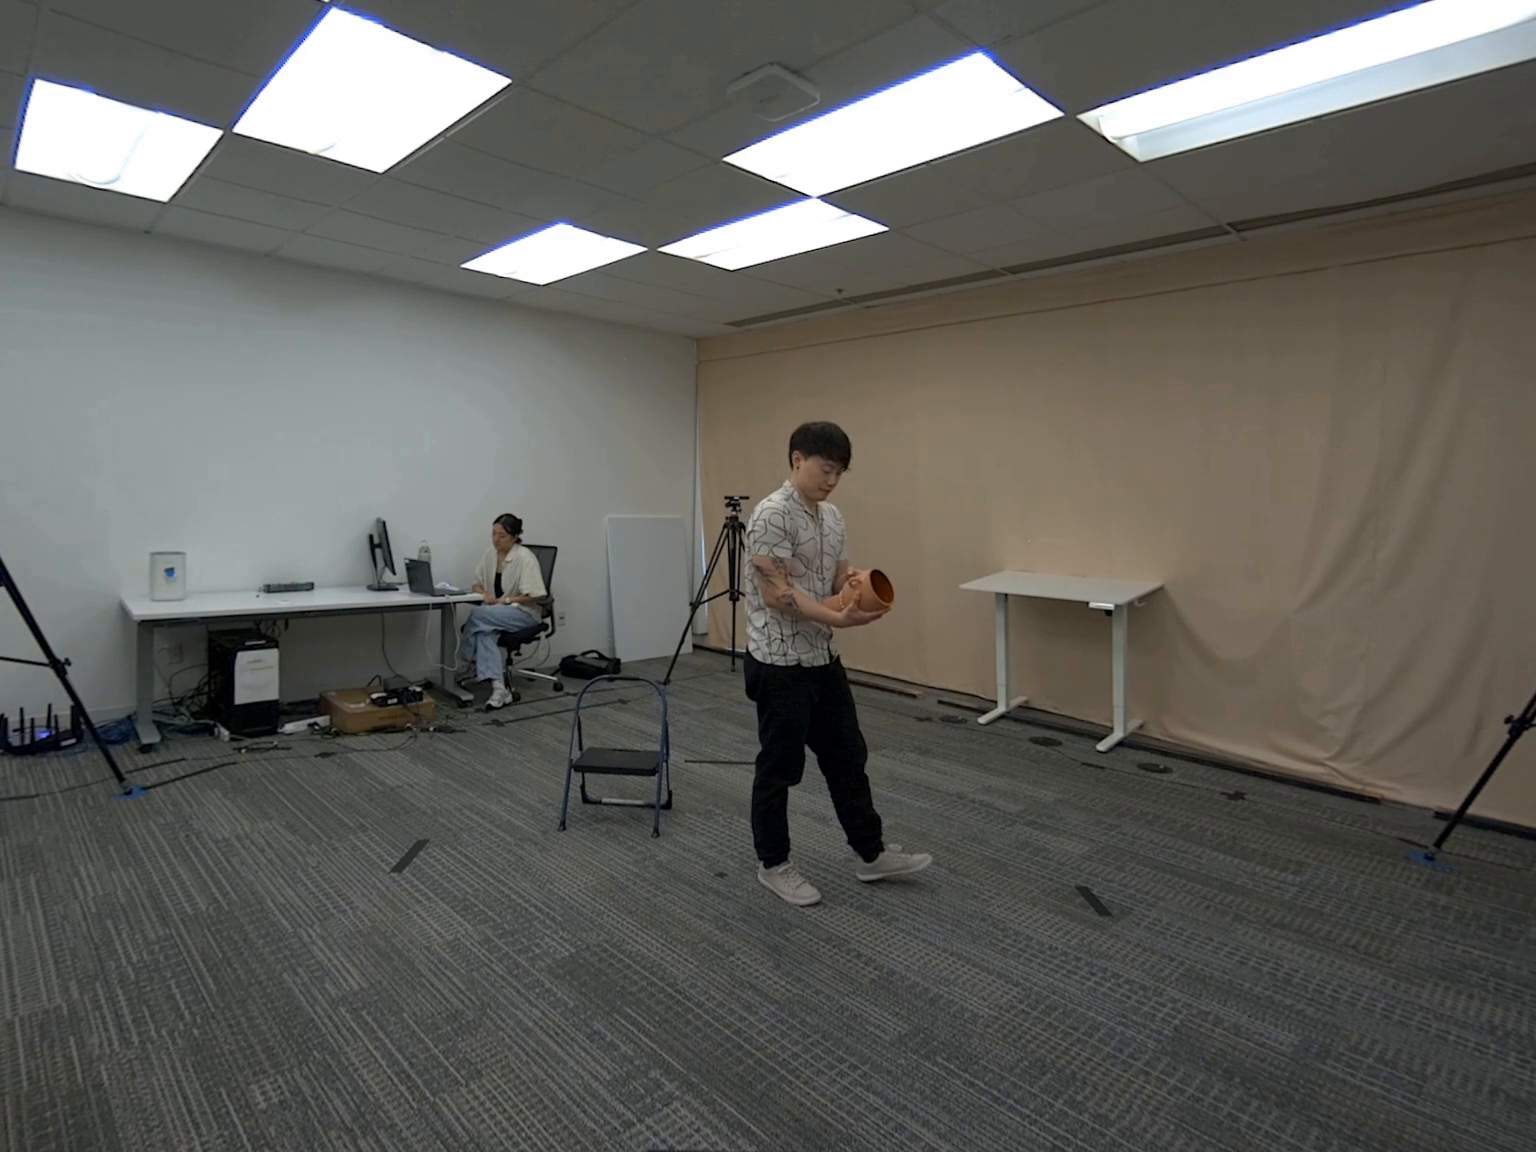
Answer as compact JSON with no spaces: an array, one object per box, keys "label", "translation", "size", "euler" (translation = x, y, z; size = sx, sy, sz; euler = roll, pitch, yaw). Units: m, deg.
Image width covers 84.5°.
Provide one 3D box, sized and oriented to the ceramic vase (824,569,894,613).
[{"label":"ceramic vase","translation":[0.278,0.072,2.736],"size":[0.221,0.159,0.134],"euler":[-31,2,38]}]
